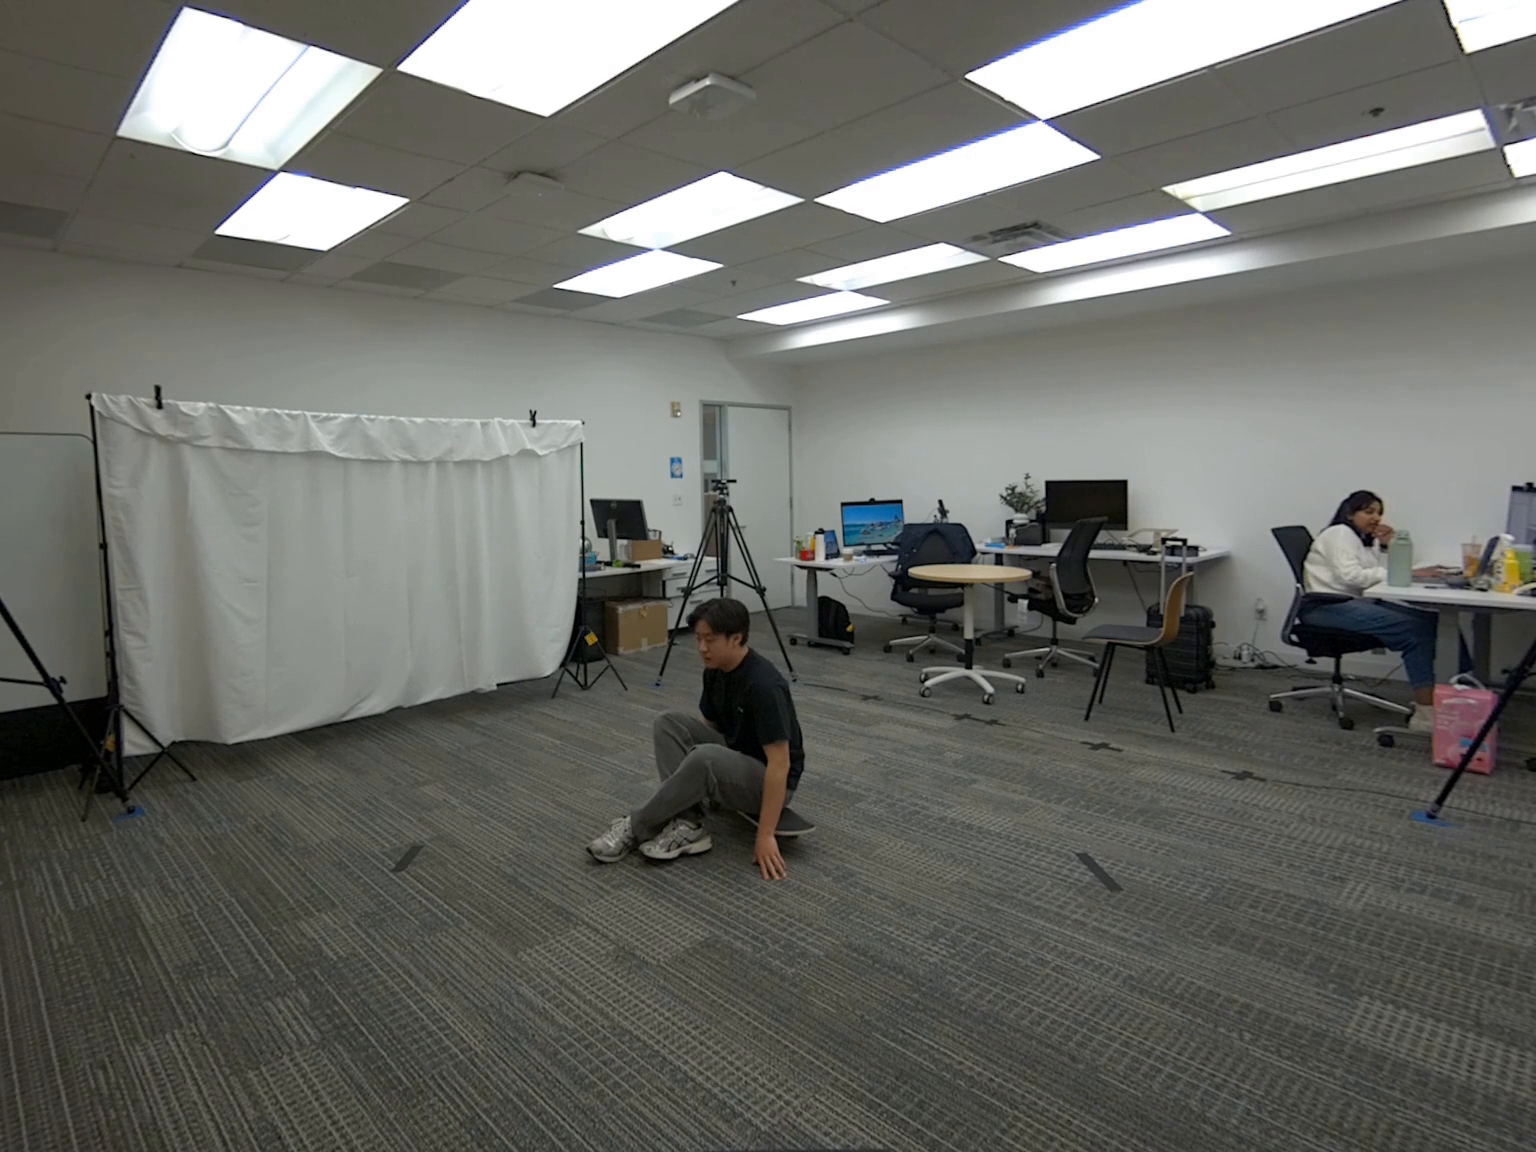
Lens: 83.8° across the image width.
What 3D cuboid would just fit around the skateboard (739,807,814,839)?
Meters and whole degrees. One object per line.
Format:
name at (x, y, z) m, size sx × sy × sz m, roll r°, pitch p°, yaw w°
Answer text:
skateboard at (-0.060, 0.951, 3.466) m, size 0.189 × 0.110 × 0.807 m, roll 1°, pitch 5°, yaw -28°
